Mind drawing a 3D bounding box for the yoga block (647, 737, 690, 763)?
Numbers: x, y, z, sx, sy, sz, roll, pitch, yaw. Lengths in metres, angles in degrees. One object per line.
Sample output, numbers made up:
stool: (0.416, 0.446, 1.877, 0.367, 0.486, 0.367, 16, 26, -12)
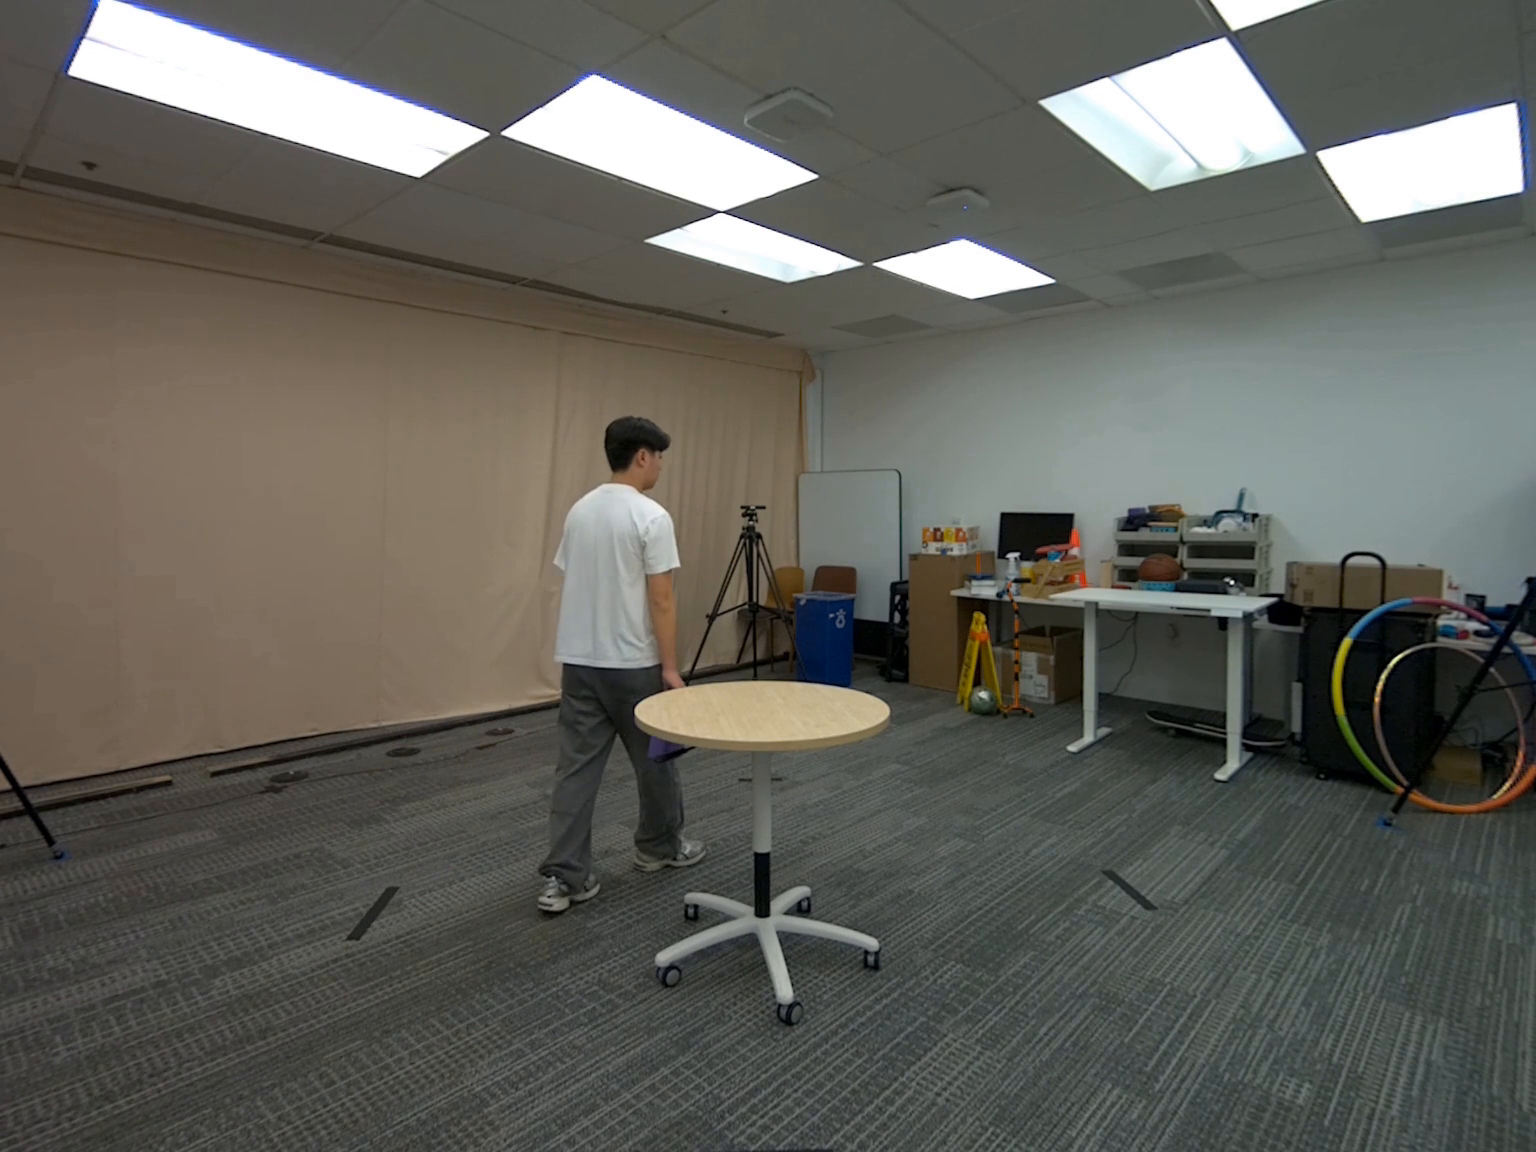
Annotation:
yoga block: (-0.333, 0.529, 2.986, 0.078, 0.229, 0.146, 10, 0, 17)
